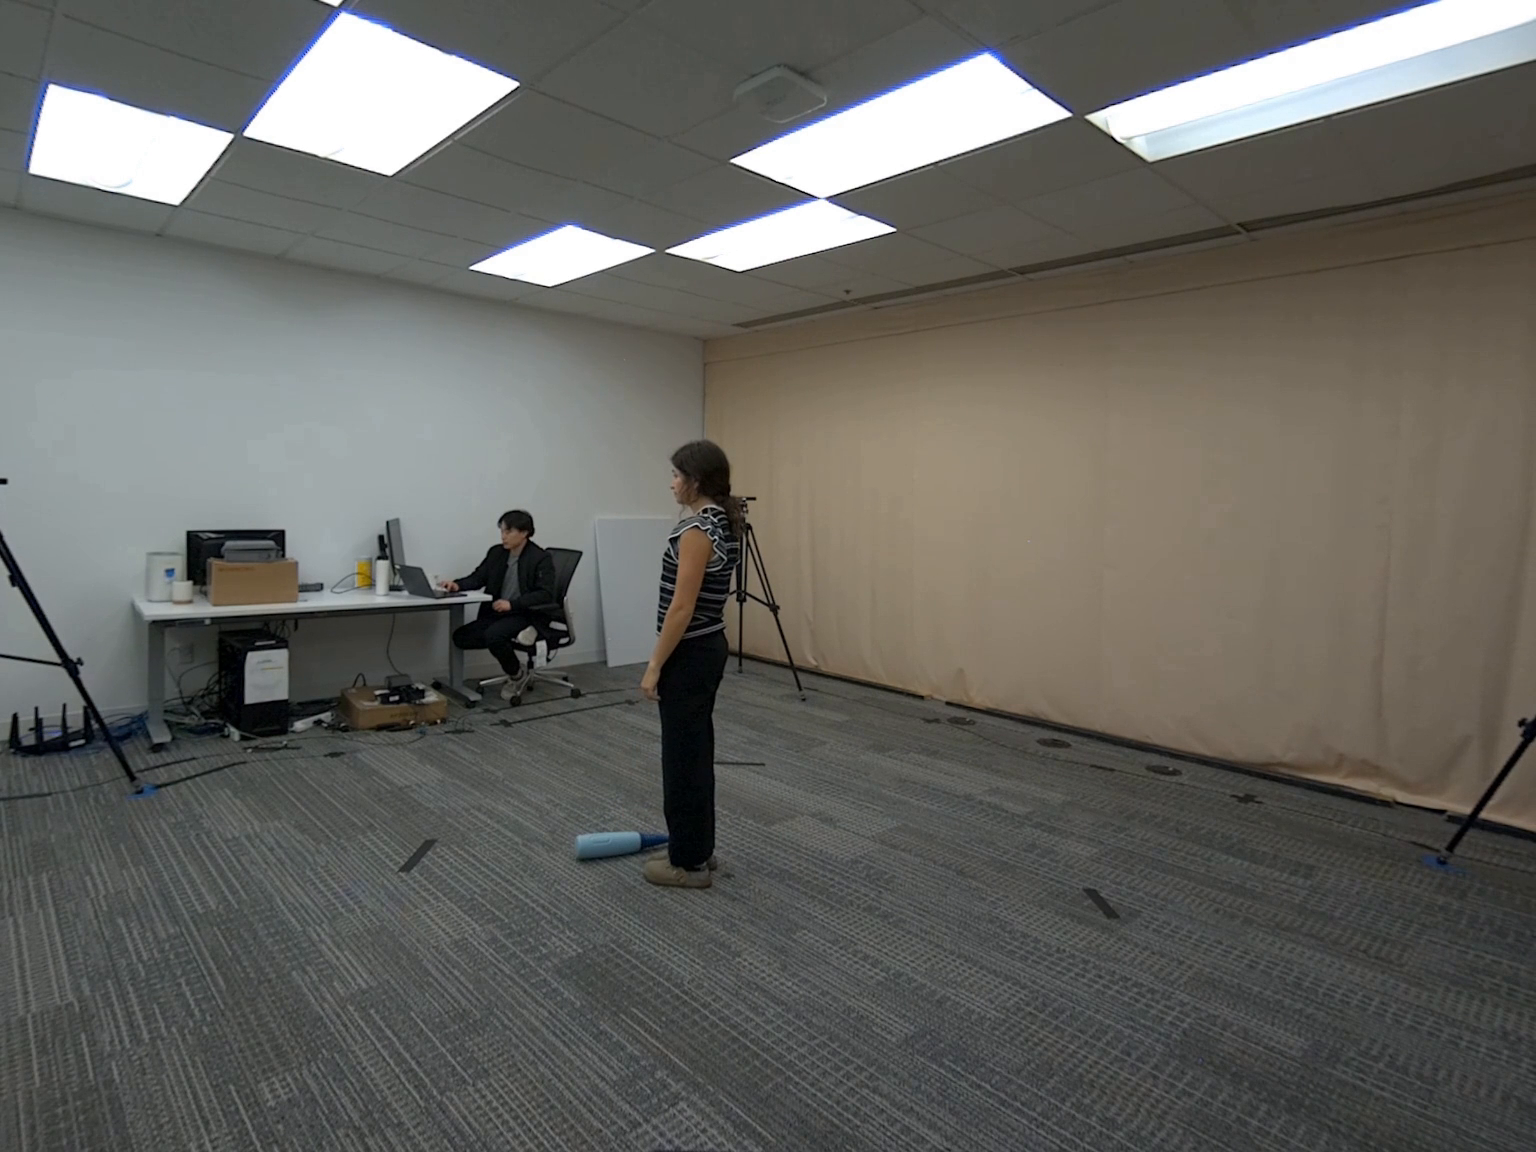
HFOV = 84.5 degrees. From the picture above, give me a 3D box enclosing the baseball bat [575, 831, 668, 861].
[{"bbox_3d":[-0.504,1.046,3.310,0.533,0.089,0.091,2,3,-25],"label":"baseball bat"}]
